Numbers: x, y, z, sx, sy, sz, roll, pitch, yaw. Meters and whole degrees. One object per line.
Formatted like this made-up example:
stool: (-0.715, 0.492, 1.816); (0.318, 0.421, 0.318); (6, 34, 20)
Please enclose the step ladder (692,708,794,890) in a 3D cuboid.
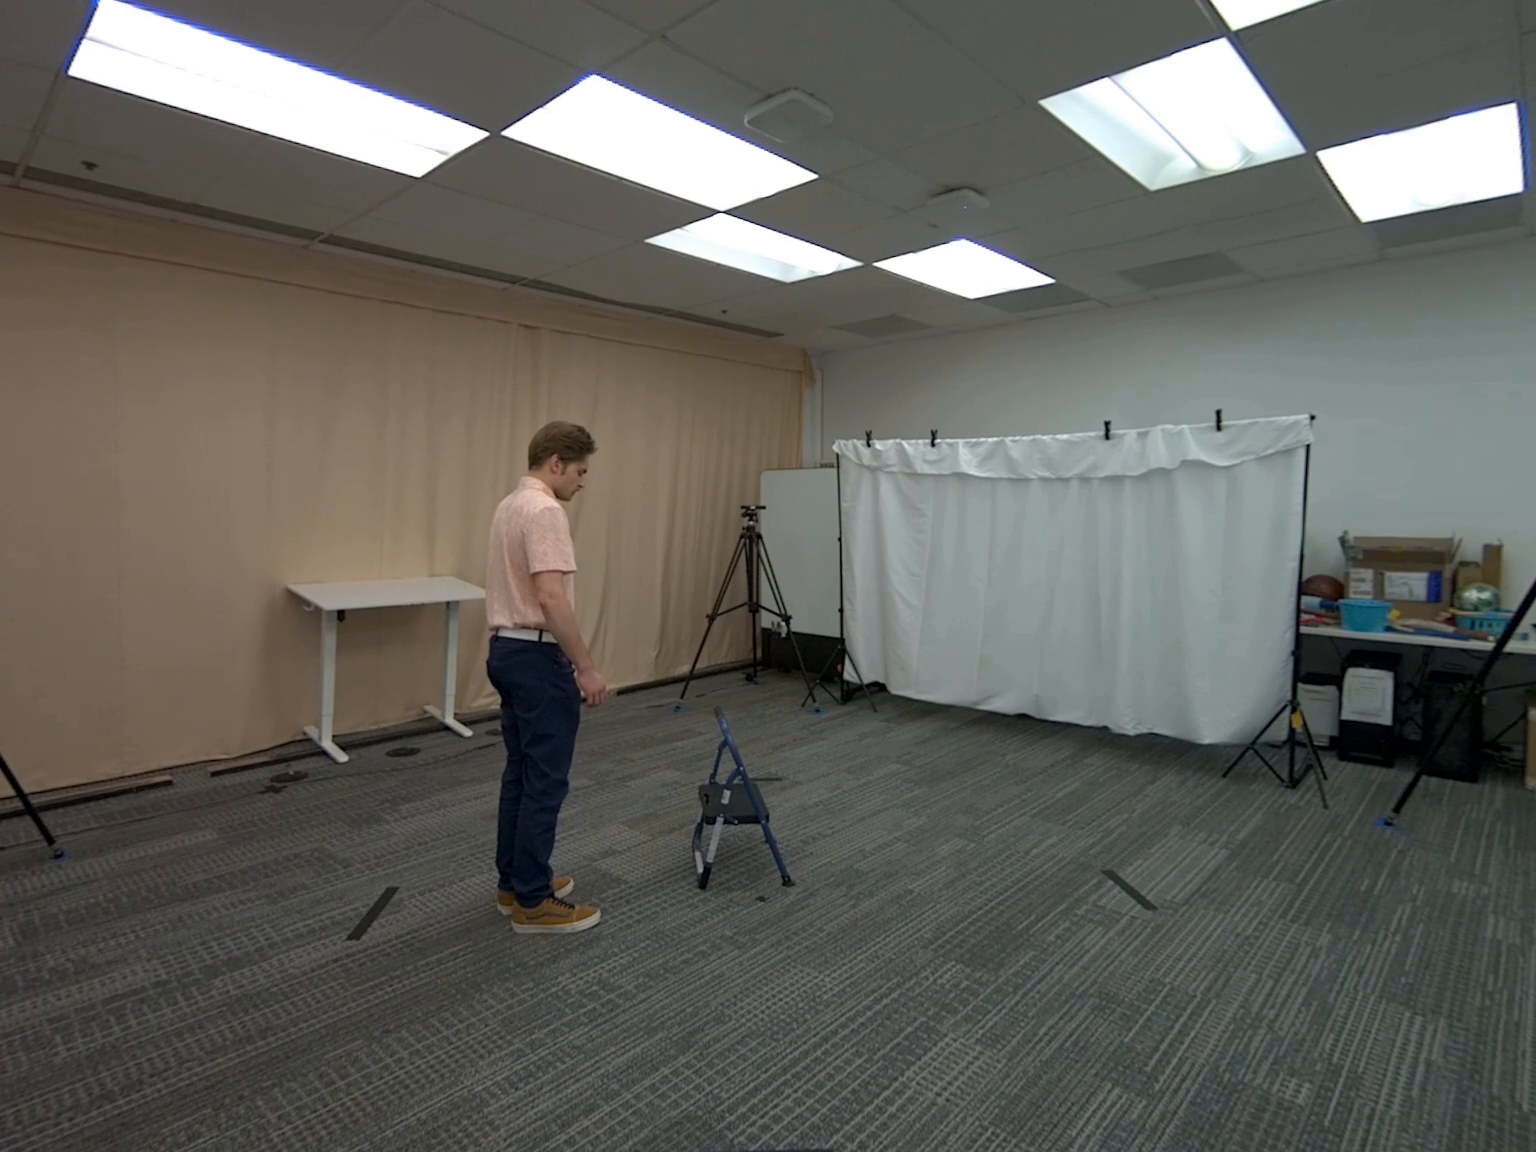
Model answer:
step ladder: (-0.114, 0.820, 3.260); (0.346, 0.605, 0.435); (0, 3, -9)
